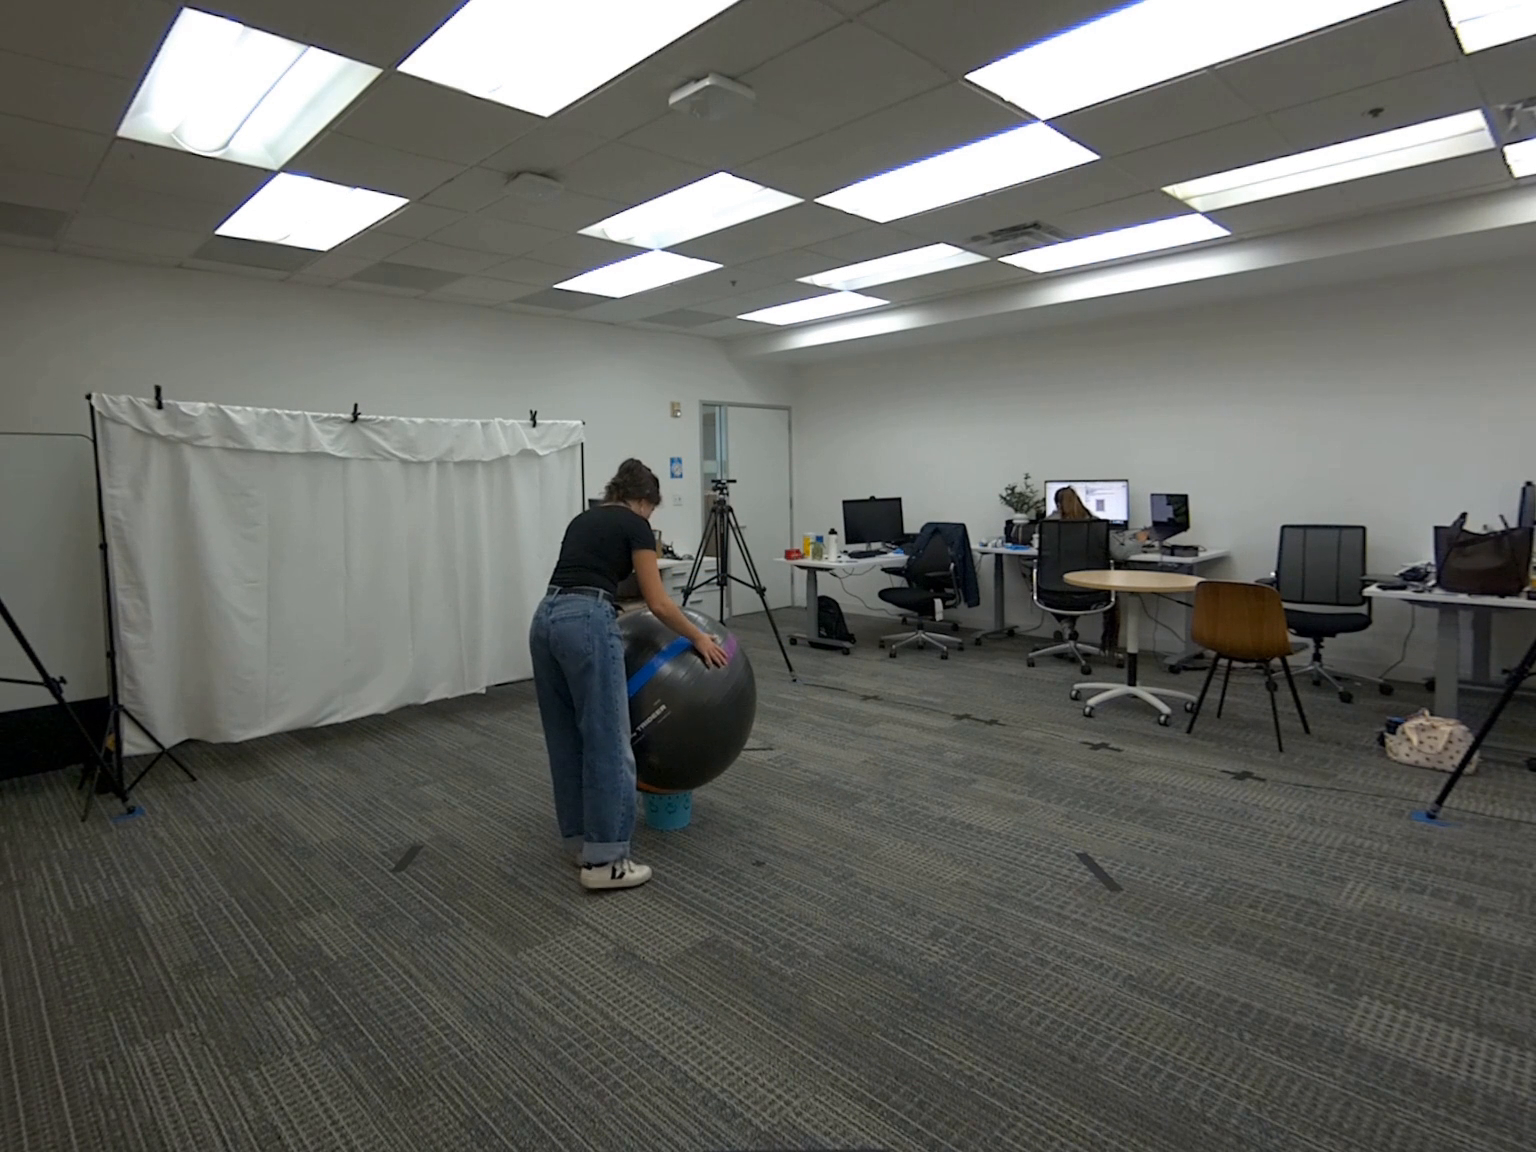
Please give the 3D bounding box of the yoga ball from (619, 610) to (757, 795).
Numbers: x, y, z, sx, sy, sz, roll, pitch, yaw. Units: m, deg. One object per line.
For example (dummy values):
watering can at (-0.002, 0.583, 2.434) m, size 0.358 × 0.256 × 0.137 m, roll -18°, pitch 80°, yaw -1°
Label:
yoga ball at (-0.425, 0.507, 3.494) m, size 0.757 × 0.755 × 0.762 m, roll -1°, pitch 5°, yaw -2°
